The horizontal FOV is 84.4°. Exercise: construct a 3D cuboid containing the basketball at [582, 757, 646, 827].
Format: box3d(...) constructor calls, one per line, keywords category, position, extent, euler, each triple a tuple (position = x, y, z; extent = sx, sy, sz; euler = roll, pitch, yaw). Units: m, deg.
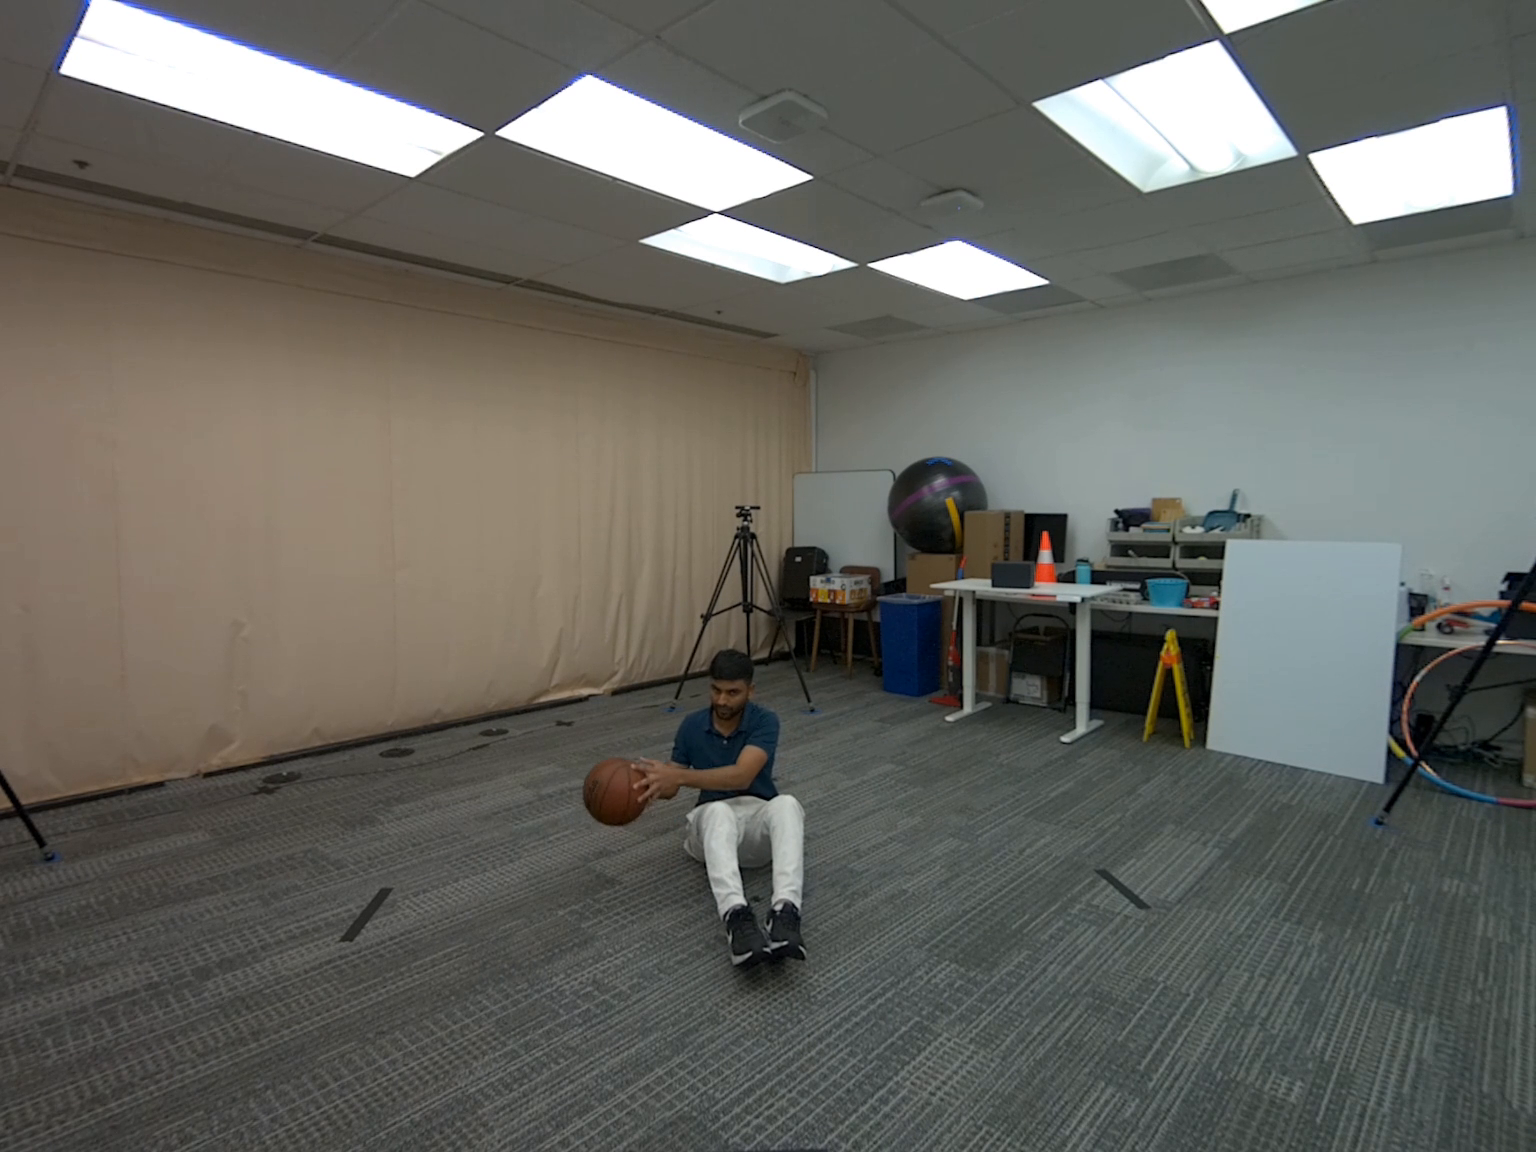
box3d(category="basketball", position=(-0.536, 0.784, 3.010), extent=(0.236, 0.235, 0.237), euler=(0, 4, -2))
